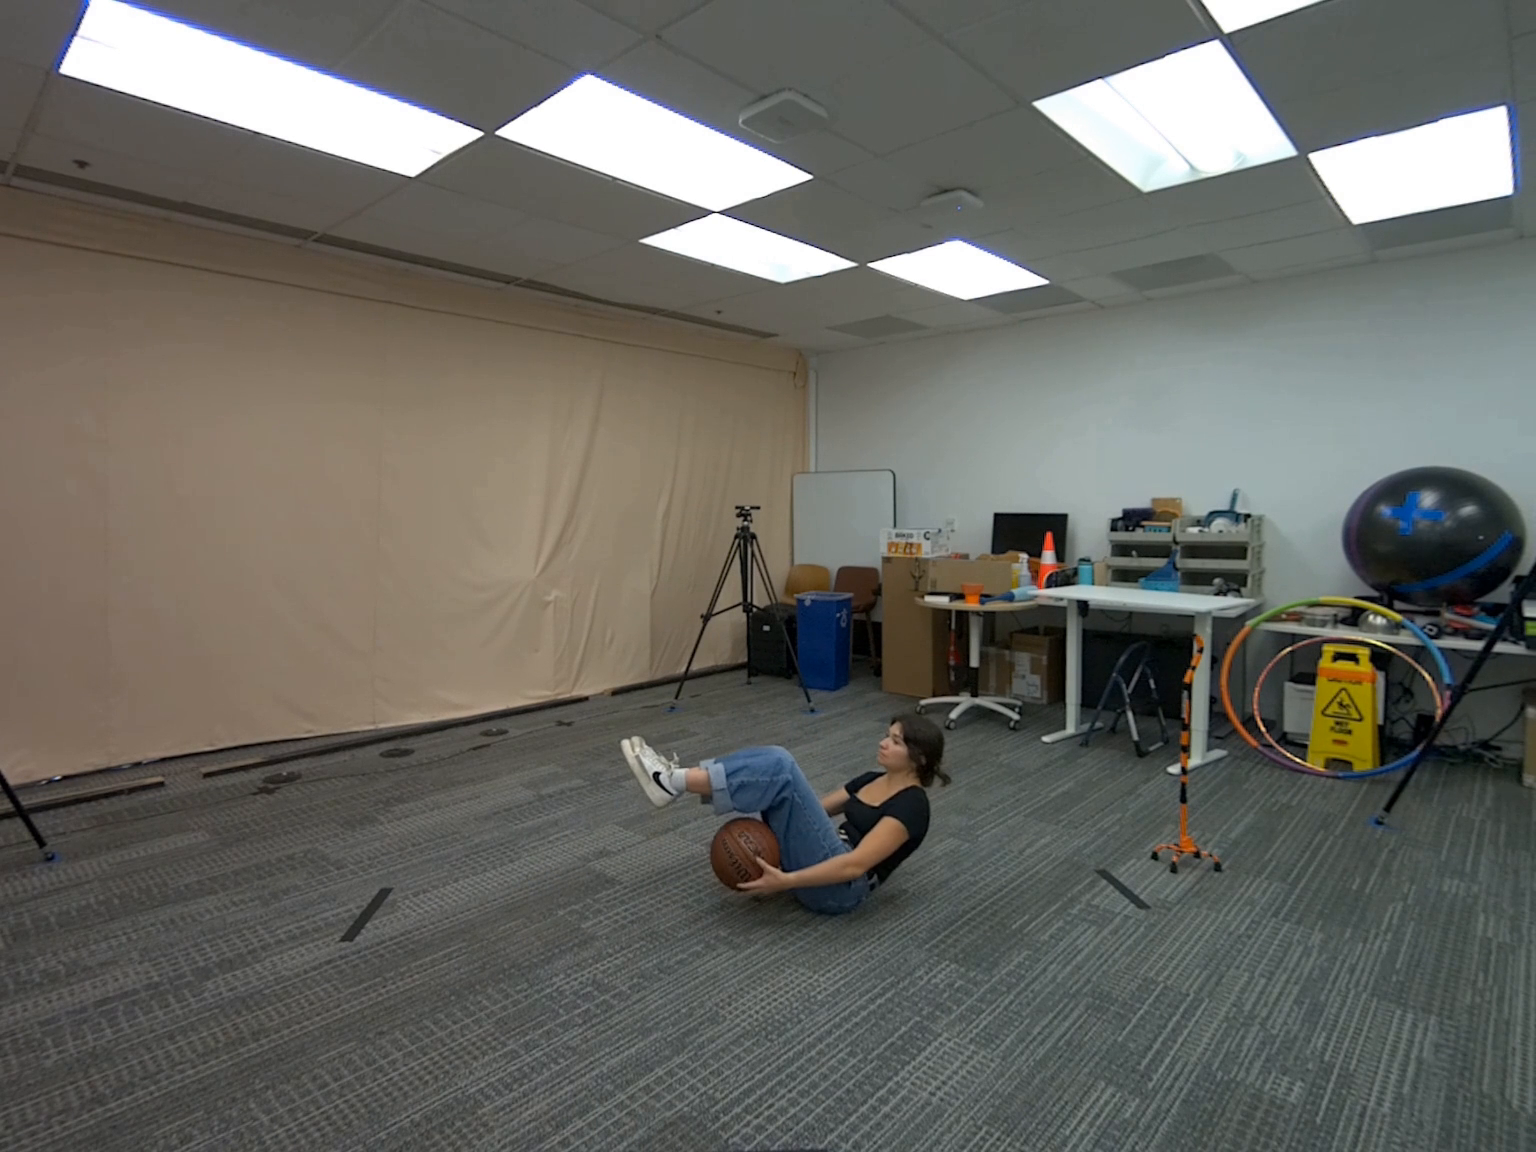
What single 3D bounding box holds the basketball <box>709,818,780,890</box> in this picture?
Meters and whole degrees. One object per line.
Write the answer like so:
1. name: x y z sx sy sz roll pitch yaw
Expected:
1. basketball: -0.066 0.932 2.851 0.236 0.235 0.237 0 4 -2
